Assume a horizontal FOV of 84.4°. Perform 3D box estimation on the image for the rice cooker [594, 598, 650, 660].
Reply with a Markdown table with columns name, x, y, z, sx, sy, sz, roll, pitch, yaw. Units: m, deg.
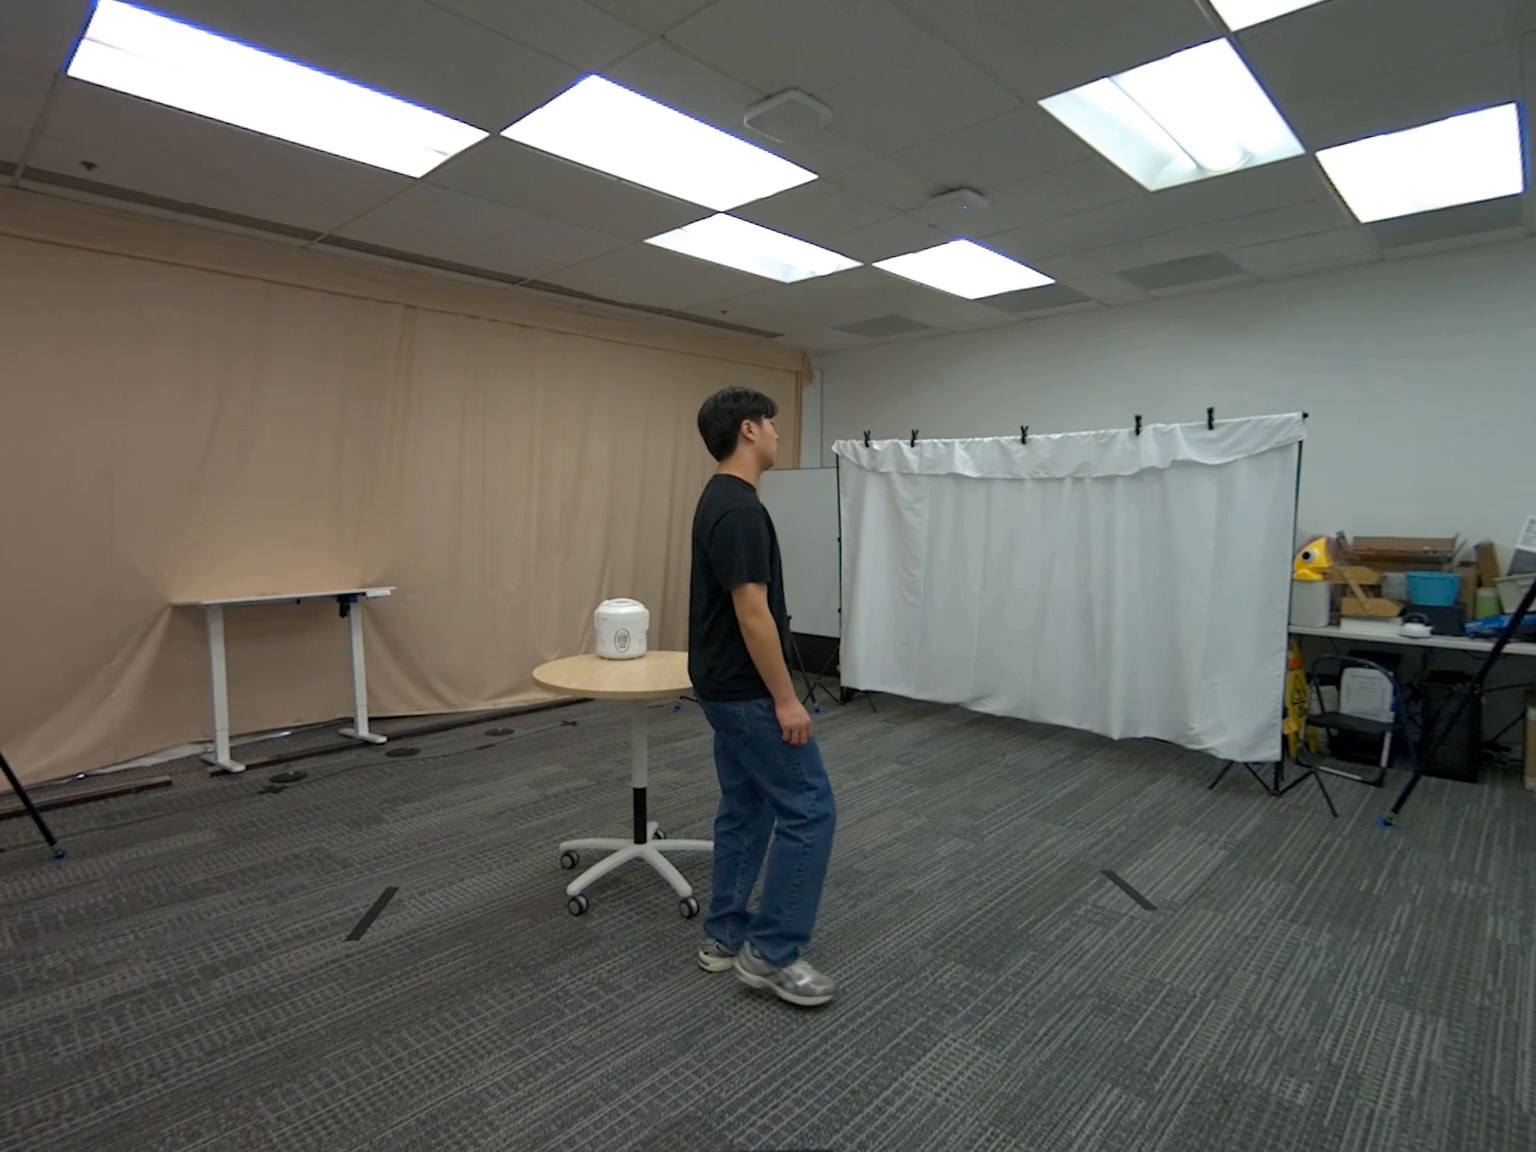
| name | x | y | z | sx | sy | sz | roll | pitch | yaw |
| --- | --- | --- | --- | --- | --- | --- | --- | --- | --- |
| rice cooker | -0.587 | 0.207 | 3.370 | 0.218 | 0.232 | 0.220 | -1 | 2 | -10 |
